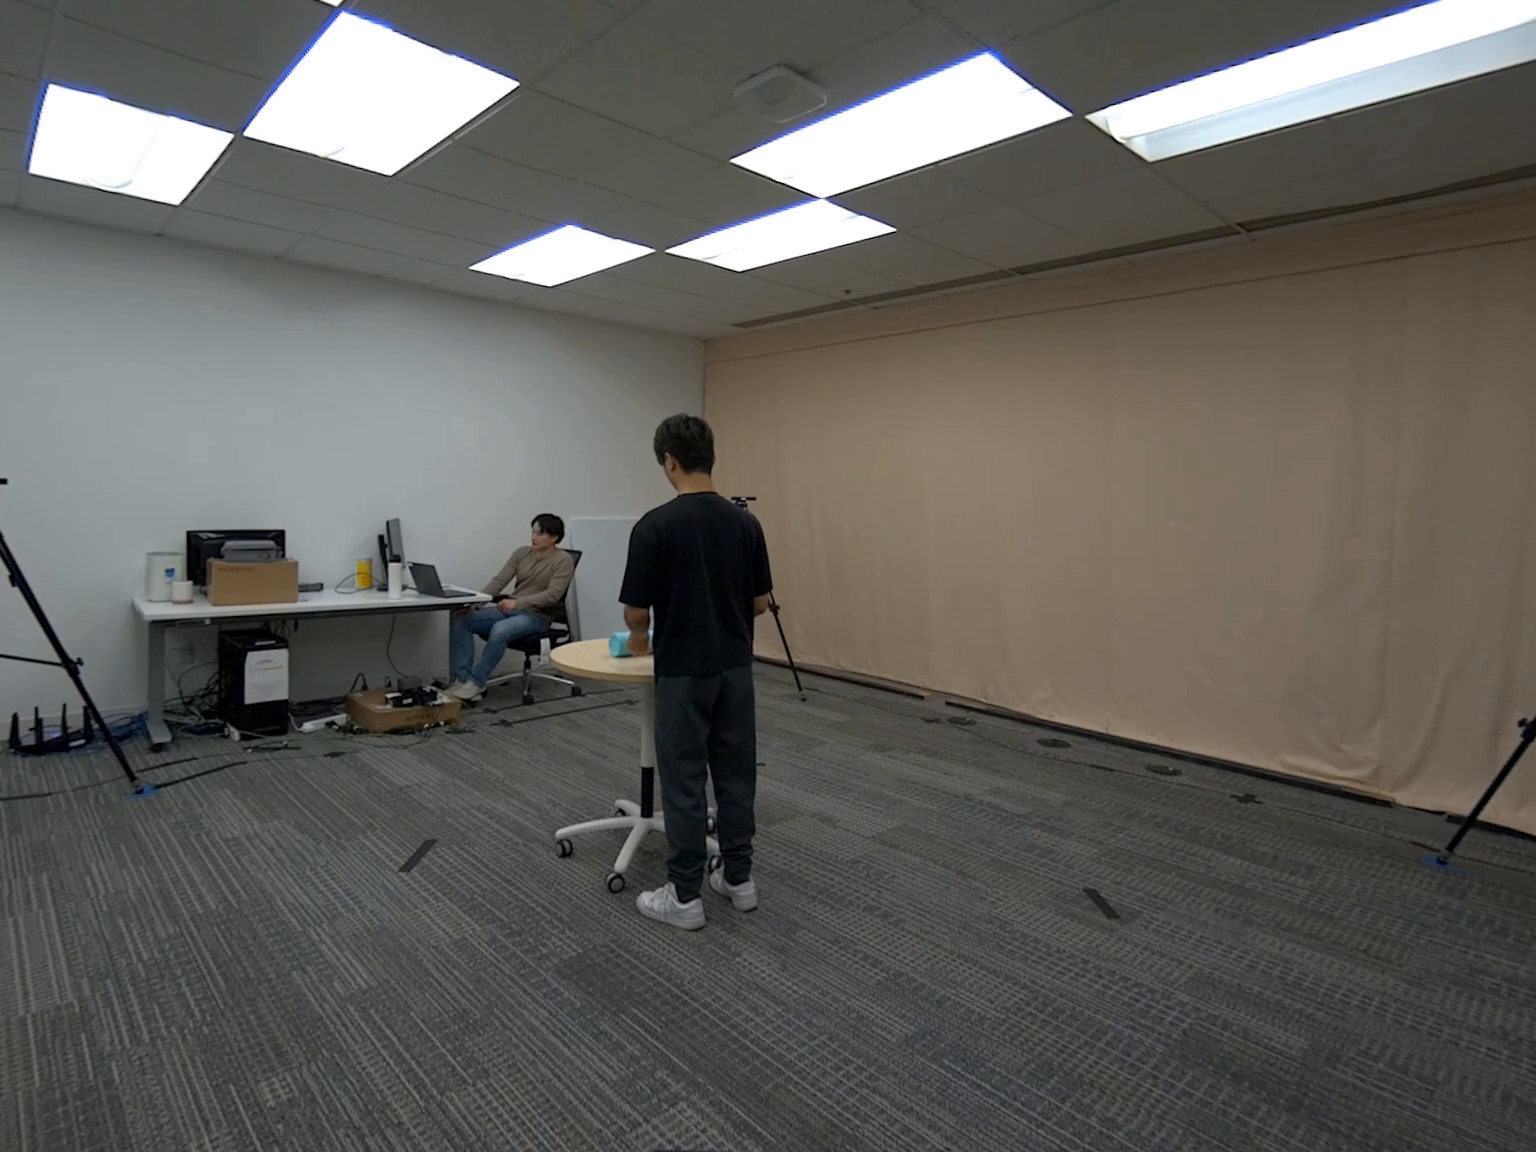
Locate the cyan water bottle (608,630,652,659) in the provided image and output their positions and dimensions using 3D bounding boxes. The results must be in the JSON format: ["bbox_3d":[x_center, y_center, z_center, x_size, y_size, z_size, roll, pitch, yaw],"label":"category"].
[{"bbox_3d":[-0.478,0.257,3.257,0.277,0.092,0.095,-3,6,-40],"label":"cyan water bottle"}]
